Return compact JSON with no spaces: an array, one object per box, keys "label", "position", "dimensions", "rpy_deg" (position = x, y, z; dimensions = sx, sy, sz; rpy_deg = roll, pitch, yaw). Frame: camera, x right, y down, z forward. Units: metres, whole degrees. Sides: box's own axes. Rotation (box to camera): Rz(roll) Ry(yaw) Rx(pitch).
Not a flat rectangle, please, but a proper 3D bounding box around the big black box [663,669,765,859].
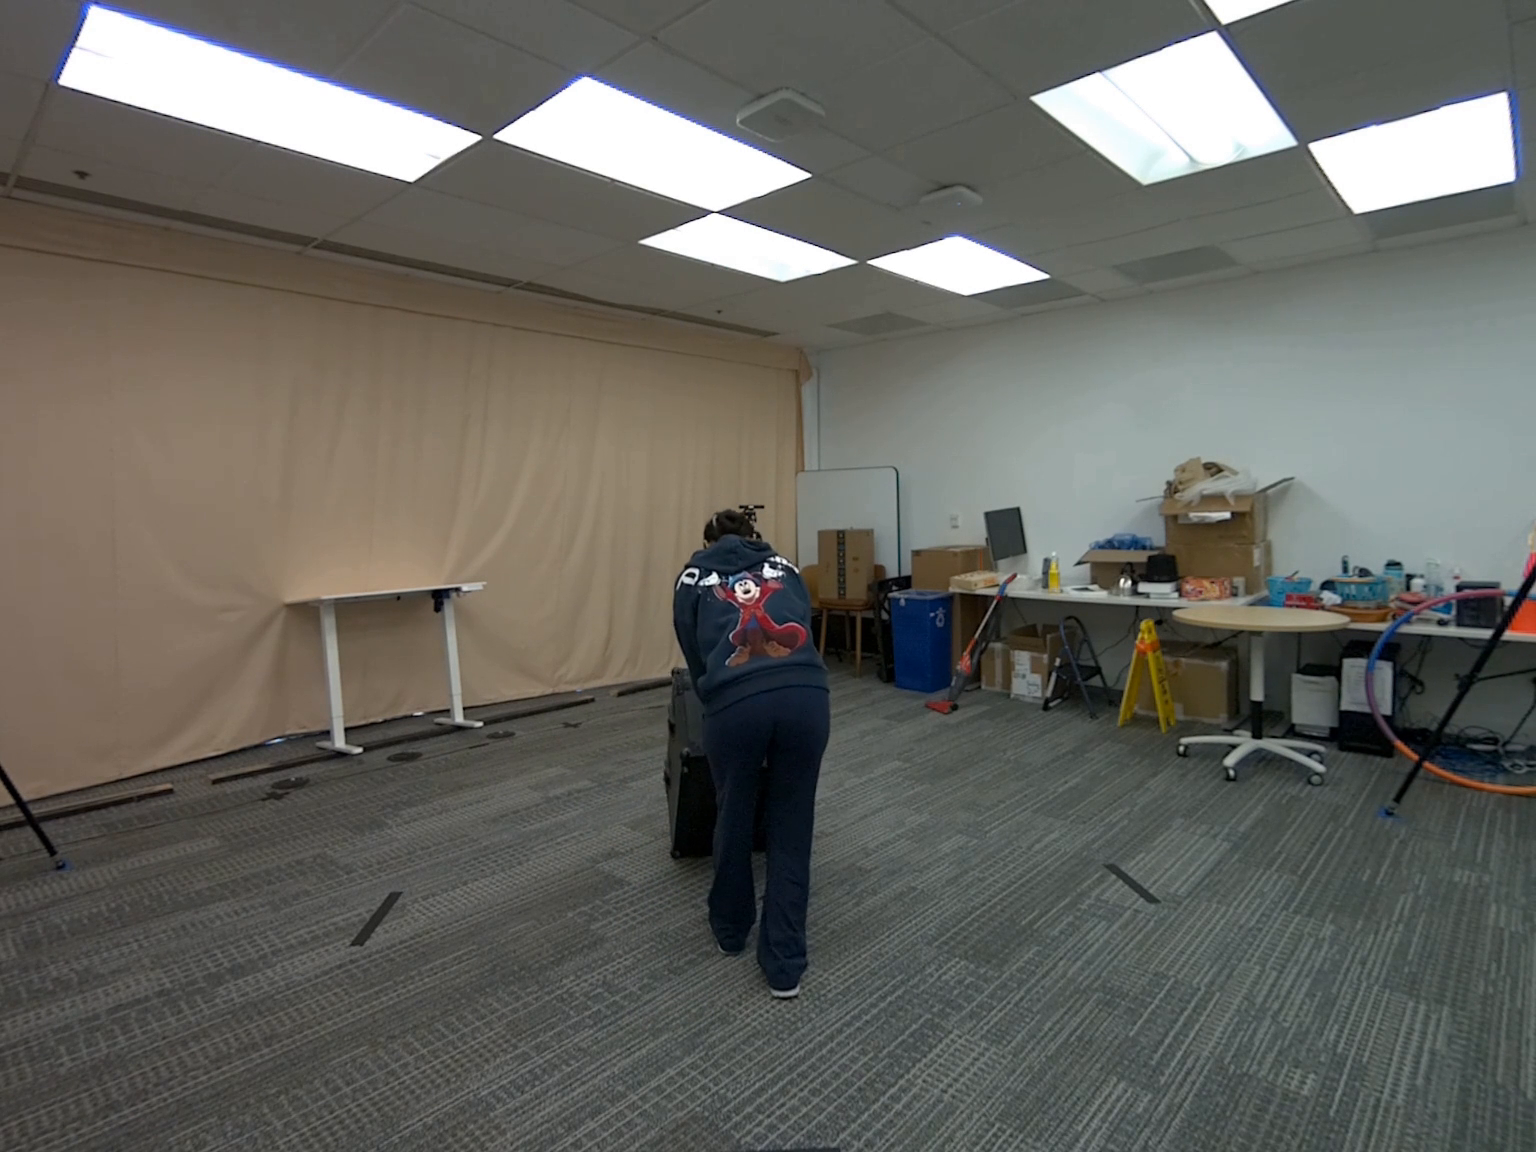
[{"label":"big black box","position":[-0.120,0.740,3.188],"dimensions":[0.516,0.406,0.849],"rpy_deg":[-2,-41,-10]}]
